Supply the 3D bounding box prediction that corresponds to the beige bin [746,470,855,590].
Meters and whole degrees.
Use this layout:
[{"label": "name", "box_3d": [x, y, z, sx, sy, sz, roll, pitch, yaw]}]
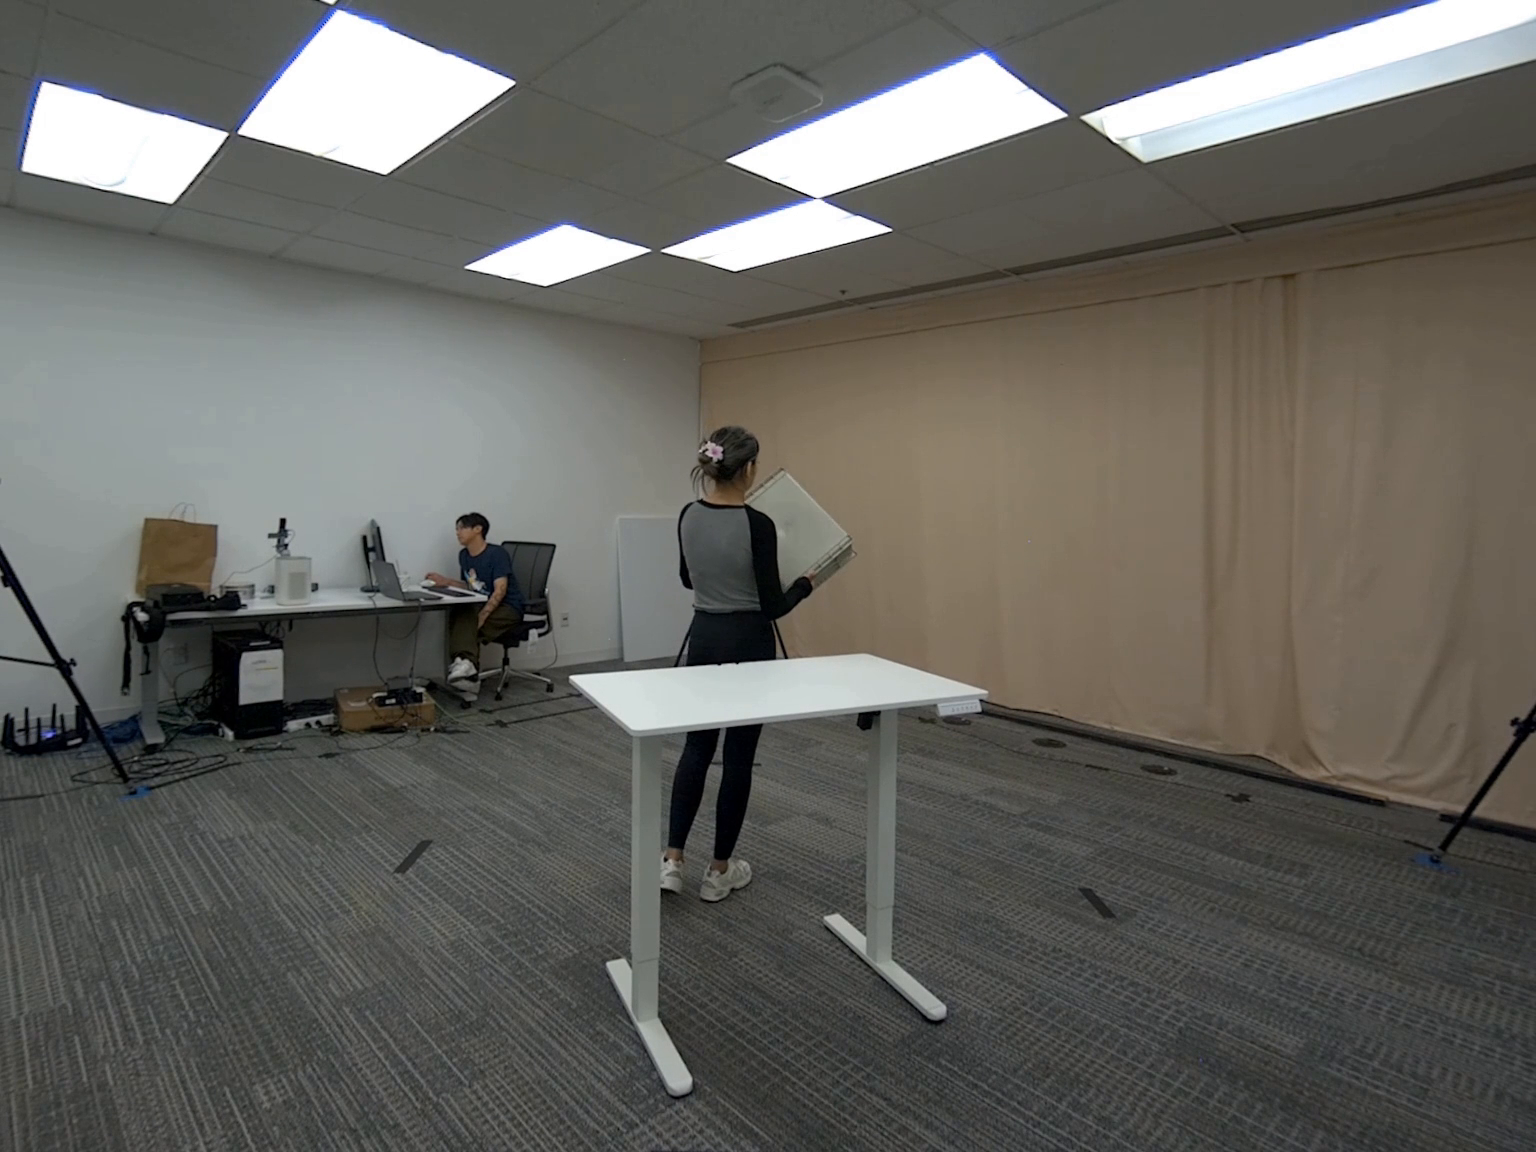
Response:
[{"label": "beige bin", "box_3d": [0.053, -0.140, 3.233, 0.377, 0.431, 0.185, -40, -19, -10]}]
